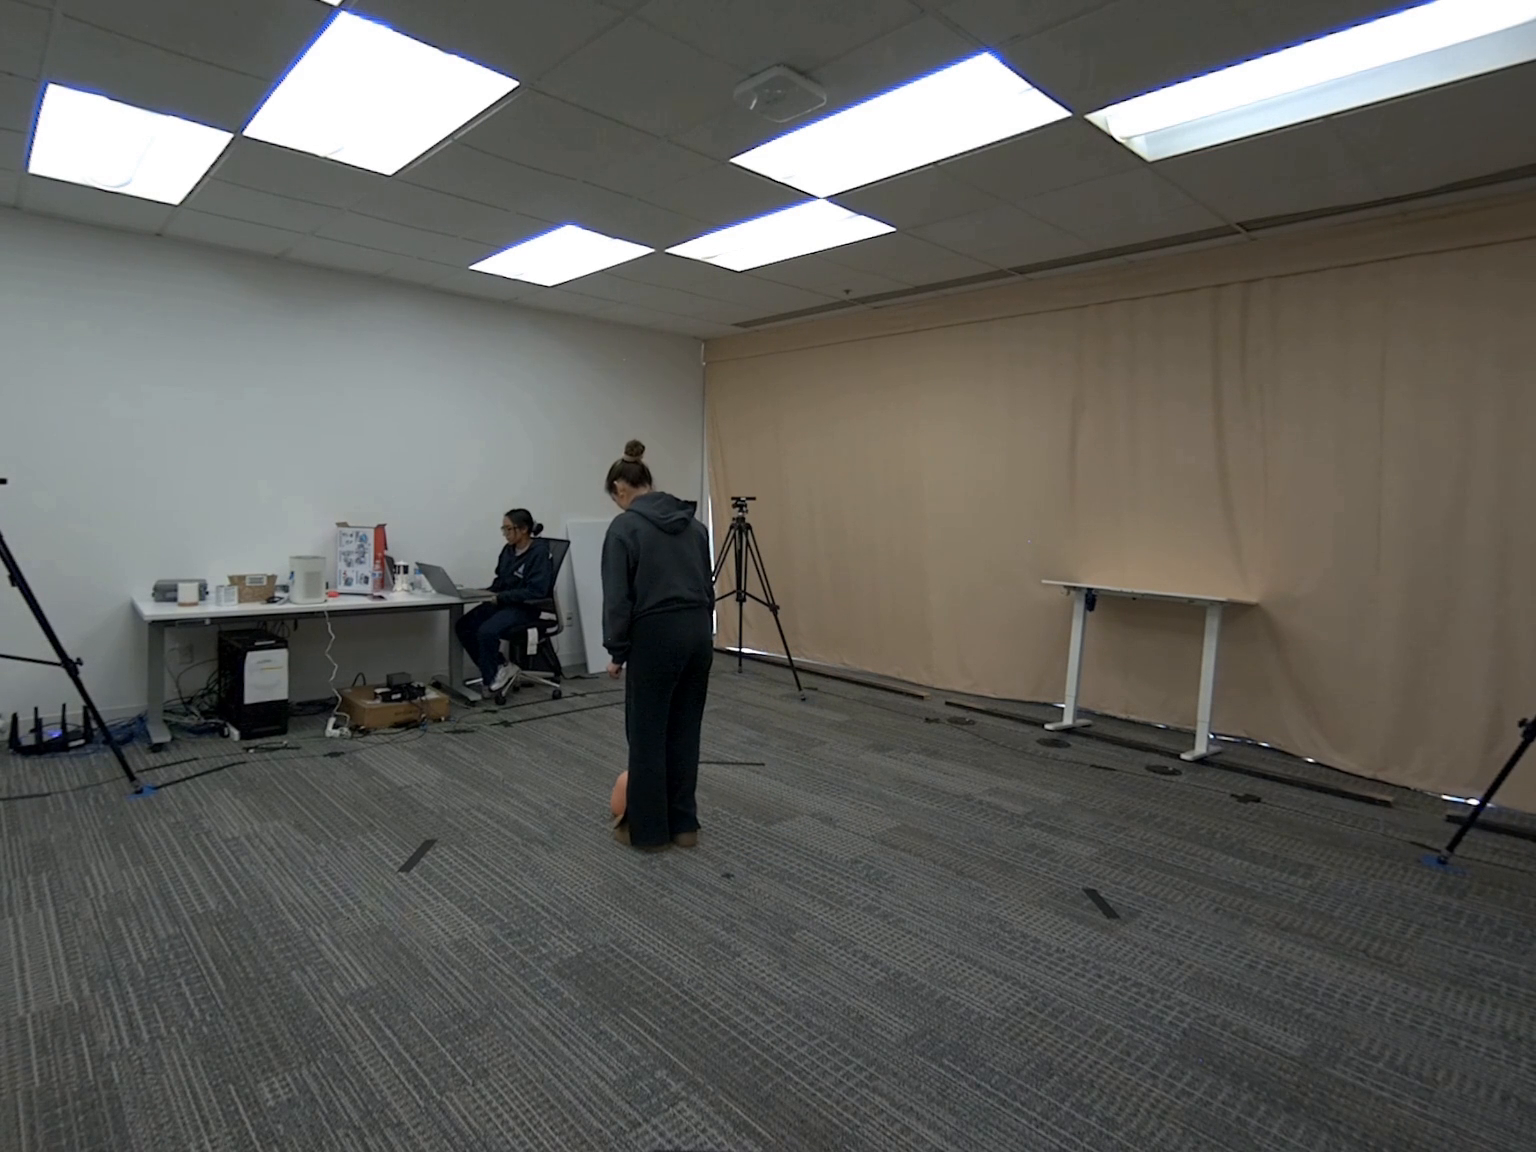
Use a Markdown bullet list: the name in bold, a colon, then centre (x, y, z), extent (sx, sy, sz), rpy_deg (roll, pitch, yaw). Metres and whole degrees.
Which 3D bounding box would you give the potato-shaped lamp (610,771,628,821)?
- **potato-shaped lamp**: centre (-0.610, 0.944, 3.667), extent (0.161, 0.197, 0.176), rpy_deg (-1, 5, -36)
